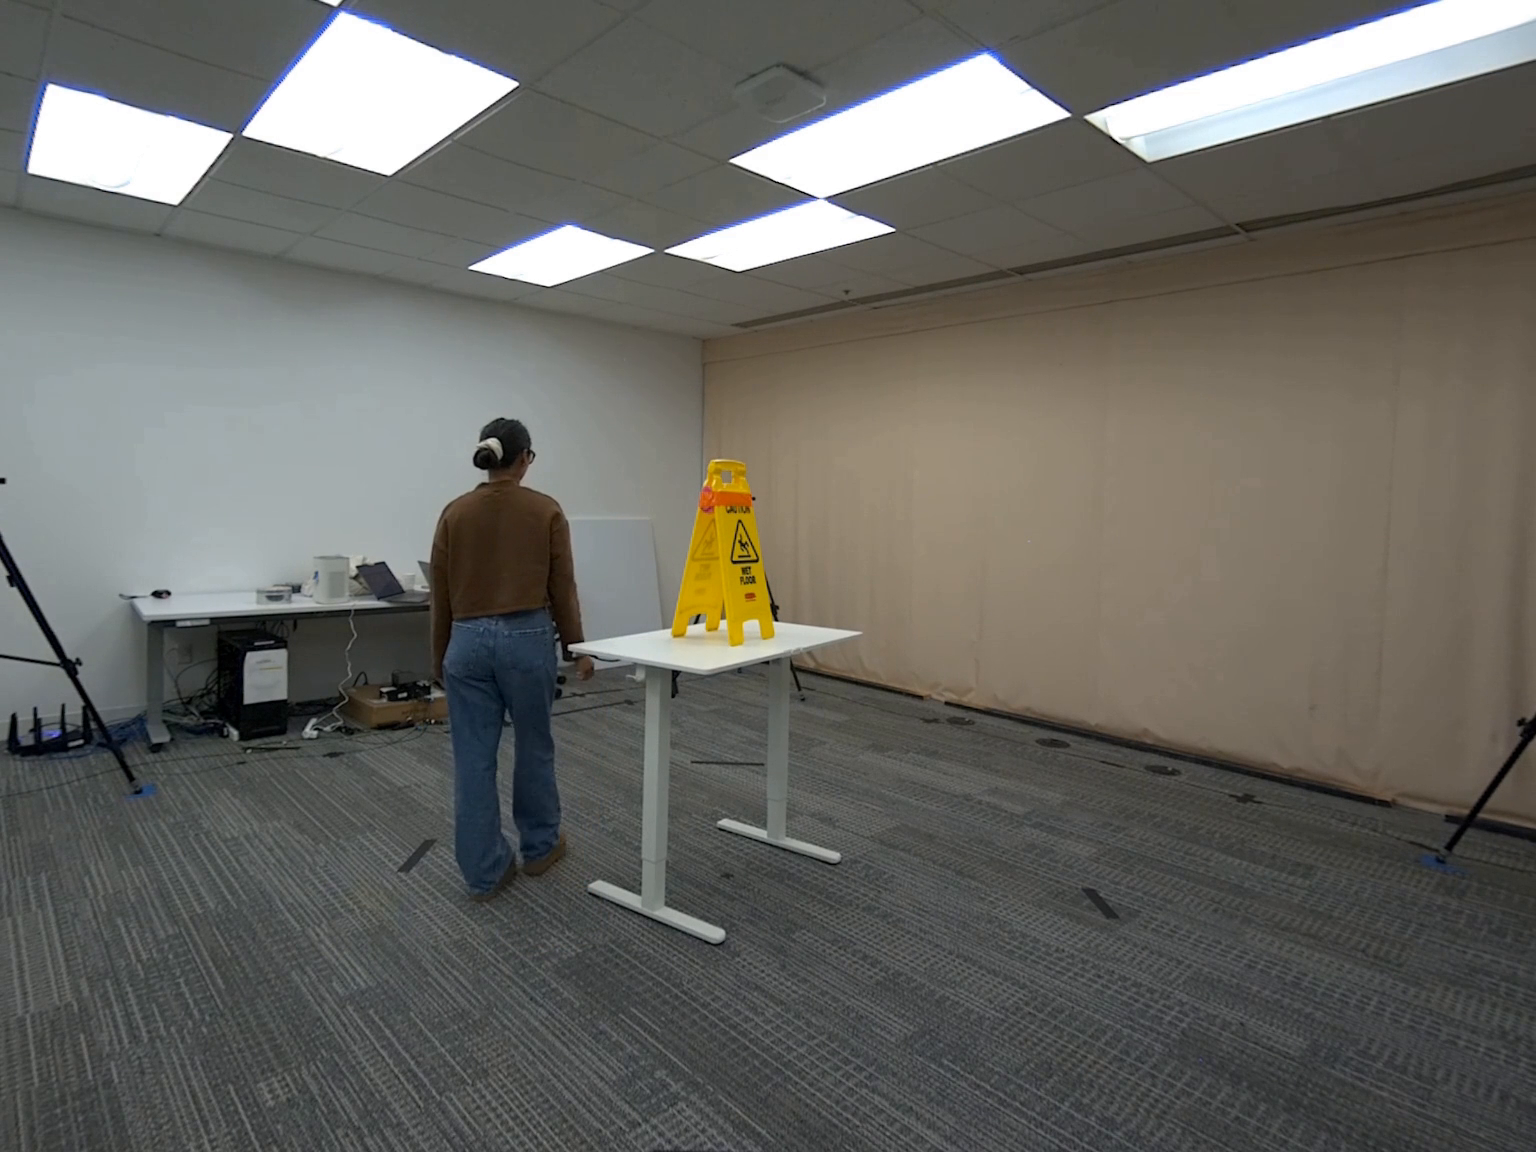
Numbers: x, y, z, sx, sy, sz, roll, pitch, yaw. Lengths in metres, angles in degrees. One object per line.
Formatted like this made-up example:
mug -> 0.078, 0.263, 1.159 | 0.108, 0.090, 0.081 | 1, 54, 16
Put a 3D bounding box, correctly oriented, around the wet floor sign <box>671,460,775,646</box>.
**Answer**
wet floor sign -> -0.158, -0.095, 3.073 | 0.296, 0.644, 0.276 | 4, 4, 34
